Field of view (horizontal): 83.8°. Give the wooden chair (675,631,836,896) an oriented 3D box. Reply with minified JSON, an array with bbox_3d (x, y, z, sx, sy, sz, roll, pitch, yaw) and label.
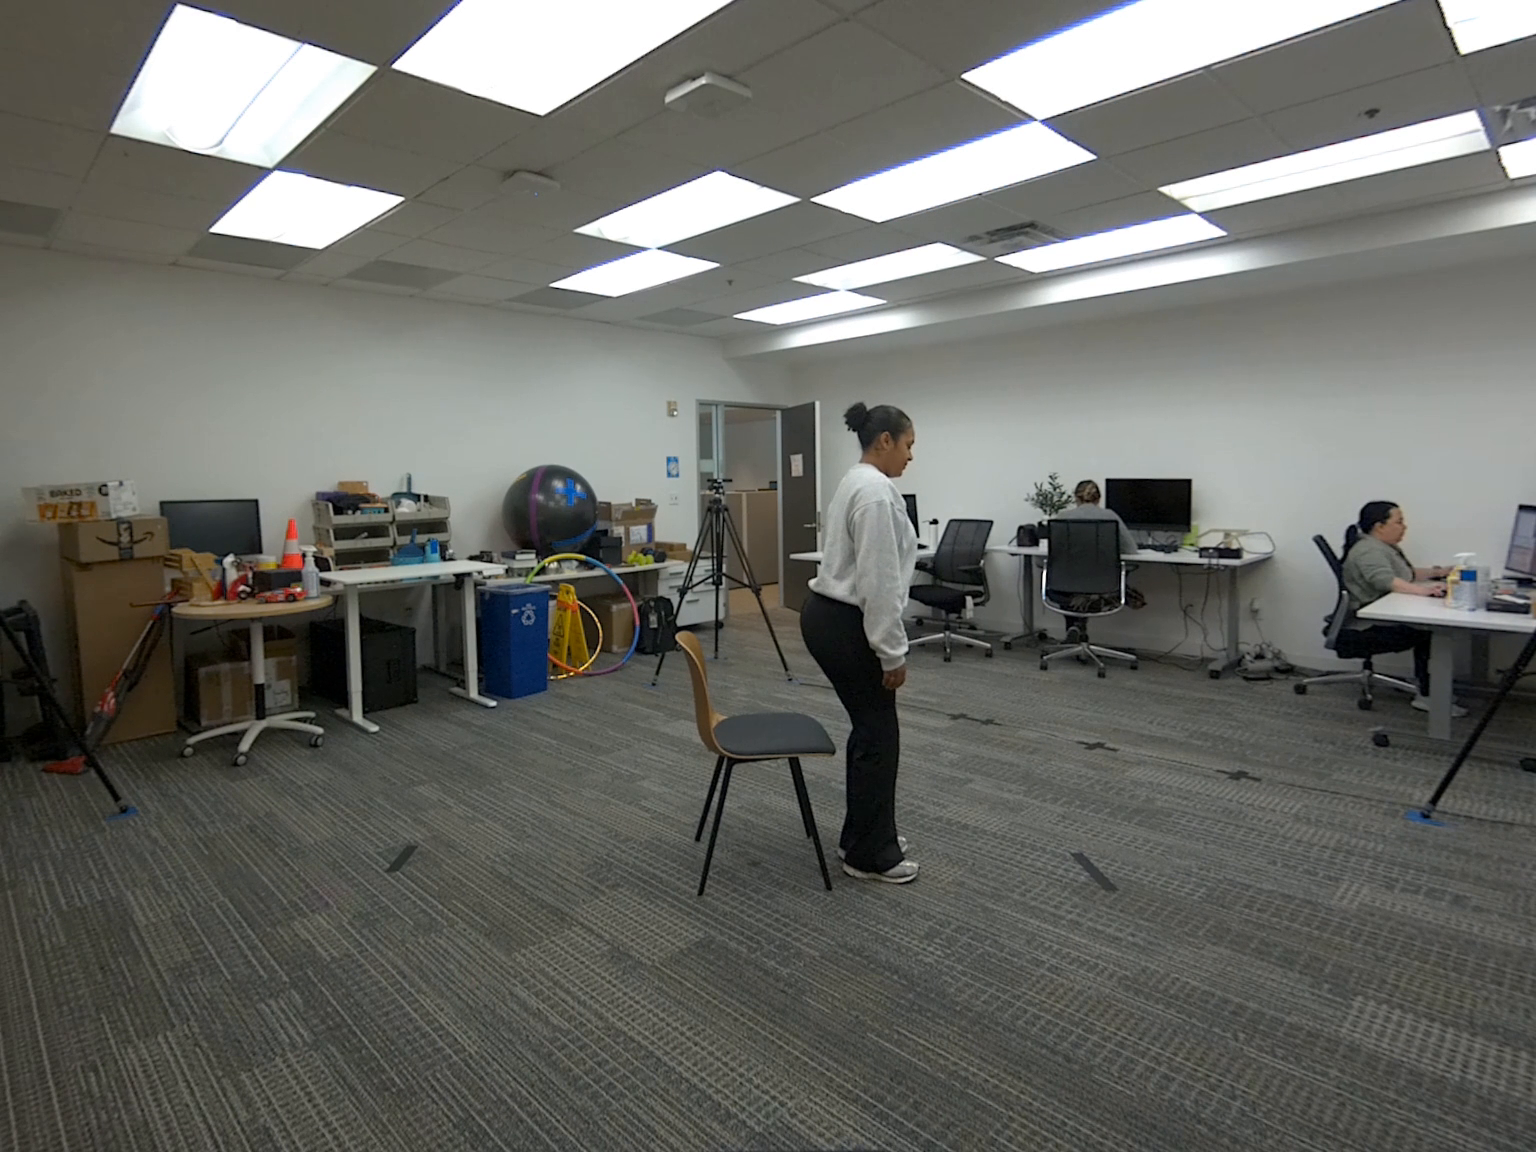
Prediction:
[{"bbox_3d":[-0.032,0.617,3.069,0.521,0.874,0.482,-5,4,-5],"label":"wooden chair"}]
